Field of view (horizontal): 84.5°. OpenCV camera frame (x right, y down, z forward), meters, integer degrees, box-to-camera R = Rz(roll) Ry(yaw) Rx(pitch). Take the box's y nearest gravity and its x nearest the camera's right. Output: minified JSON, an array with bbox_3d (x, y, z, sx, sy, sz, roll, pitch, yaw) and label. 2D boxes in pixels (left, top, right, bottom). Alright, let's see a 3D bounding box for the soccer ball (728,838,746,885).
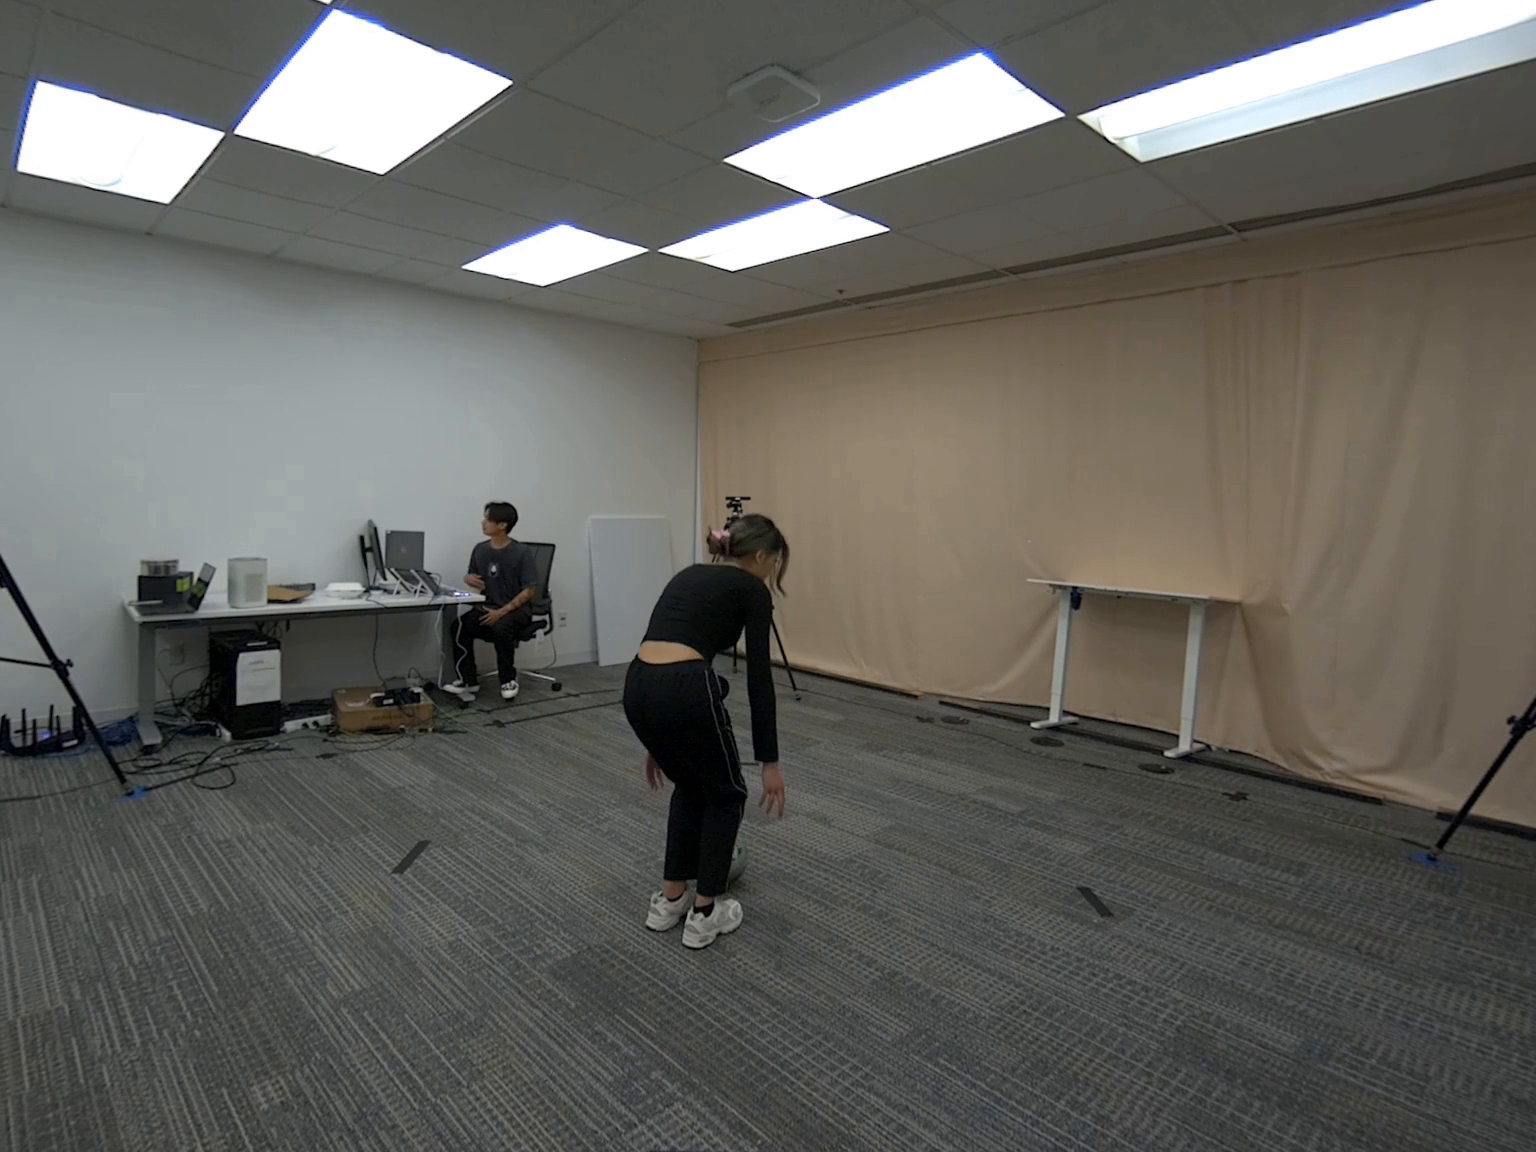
[{"bbox_3d":[-0.167,1.023,3.050,0.187,0.187,0.188,1,4,-1],"label":"soccer ball"}]
